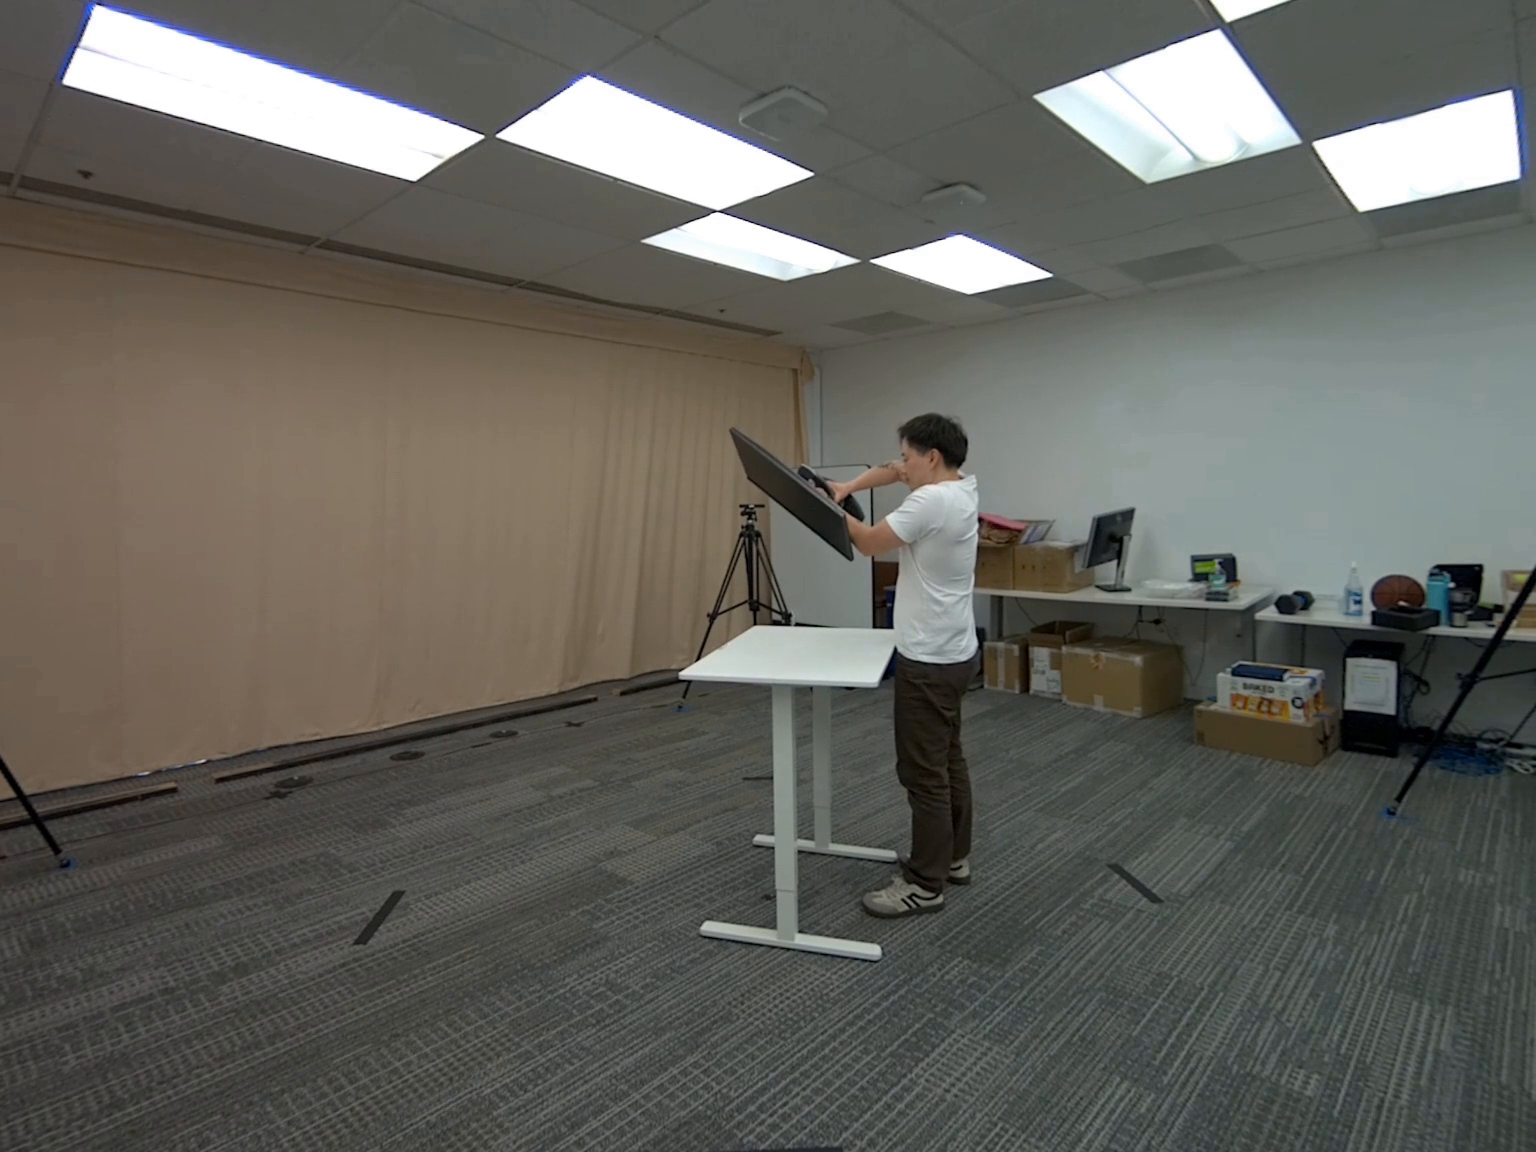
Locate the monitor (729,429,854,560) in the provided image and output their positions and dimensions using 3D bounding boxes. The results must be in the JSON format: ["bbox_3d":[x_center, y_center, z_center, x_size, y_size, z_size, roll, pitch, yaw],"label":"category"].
[{"bbox_3d":[0.142,-0.288,3.032,0.555,0.187,0.507,39,6,25],"label":"monitor"}]
